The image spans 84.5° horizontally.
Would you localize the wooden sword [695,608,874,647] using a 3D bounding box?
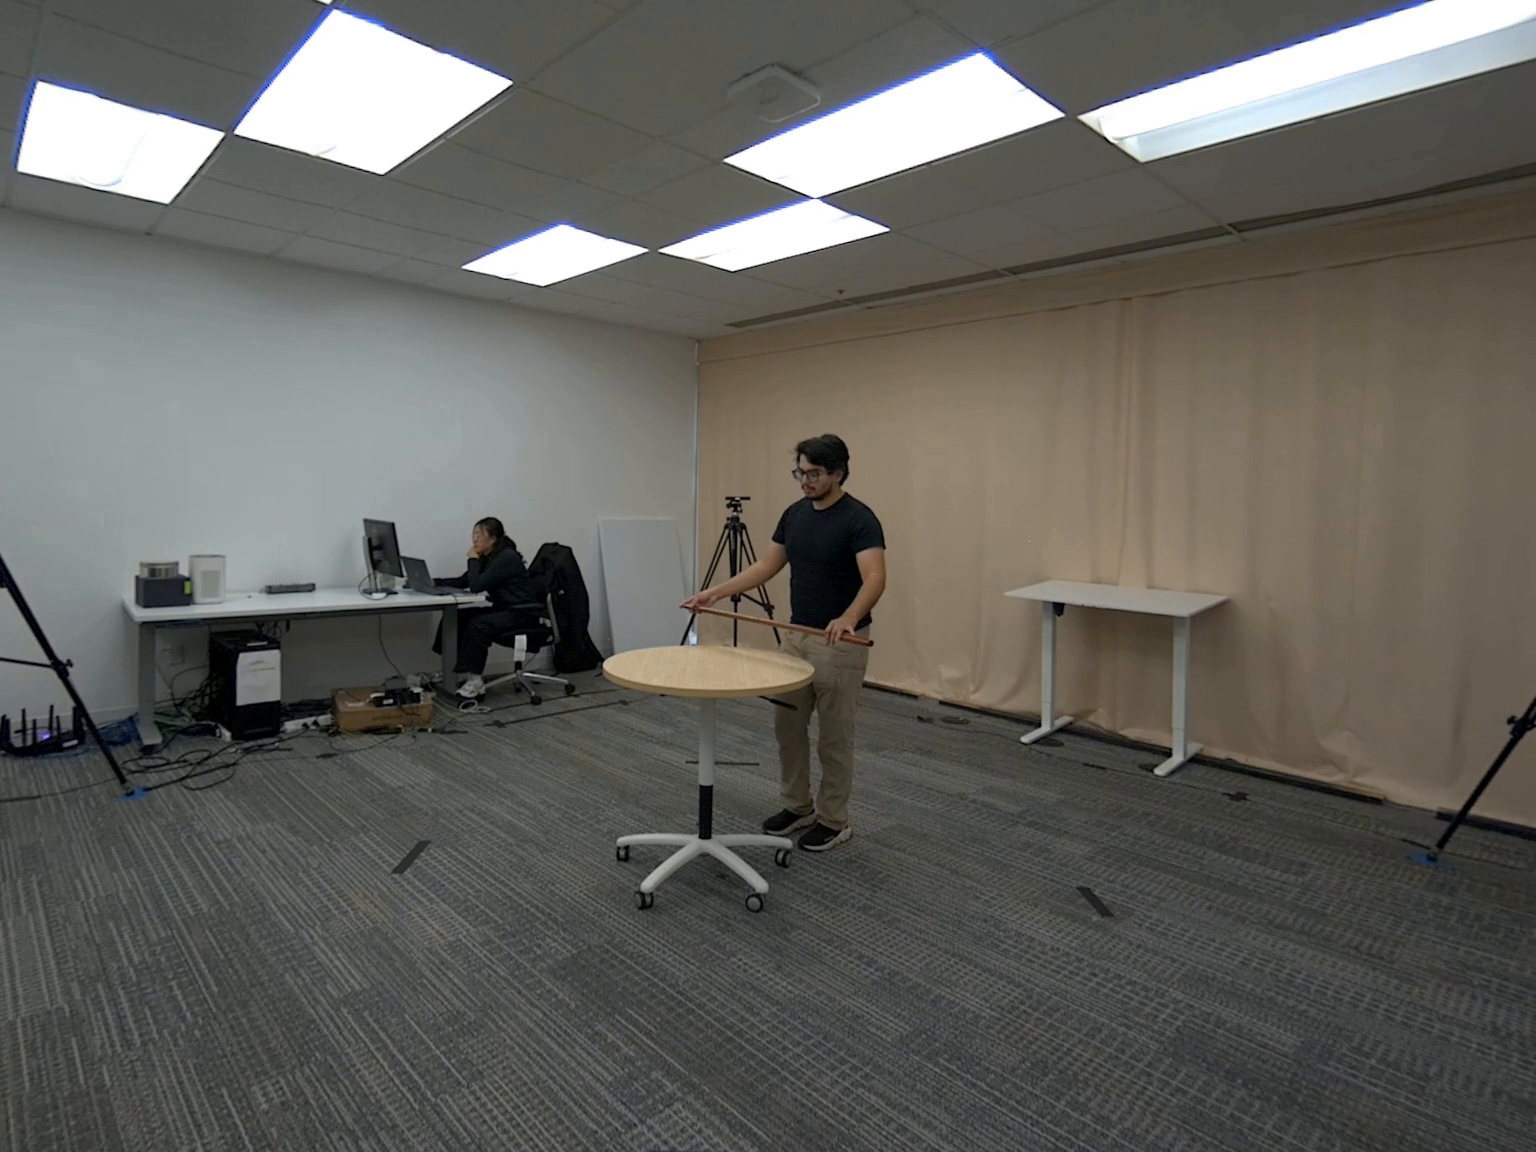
[{"bbox_3d":[0.038,0.200,3.103,0.023,0.051,1.052,24,-9,-39],"label":"wooden sword"}]
